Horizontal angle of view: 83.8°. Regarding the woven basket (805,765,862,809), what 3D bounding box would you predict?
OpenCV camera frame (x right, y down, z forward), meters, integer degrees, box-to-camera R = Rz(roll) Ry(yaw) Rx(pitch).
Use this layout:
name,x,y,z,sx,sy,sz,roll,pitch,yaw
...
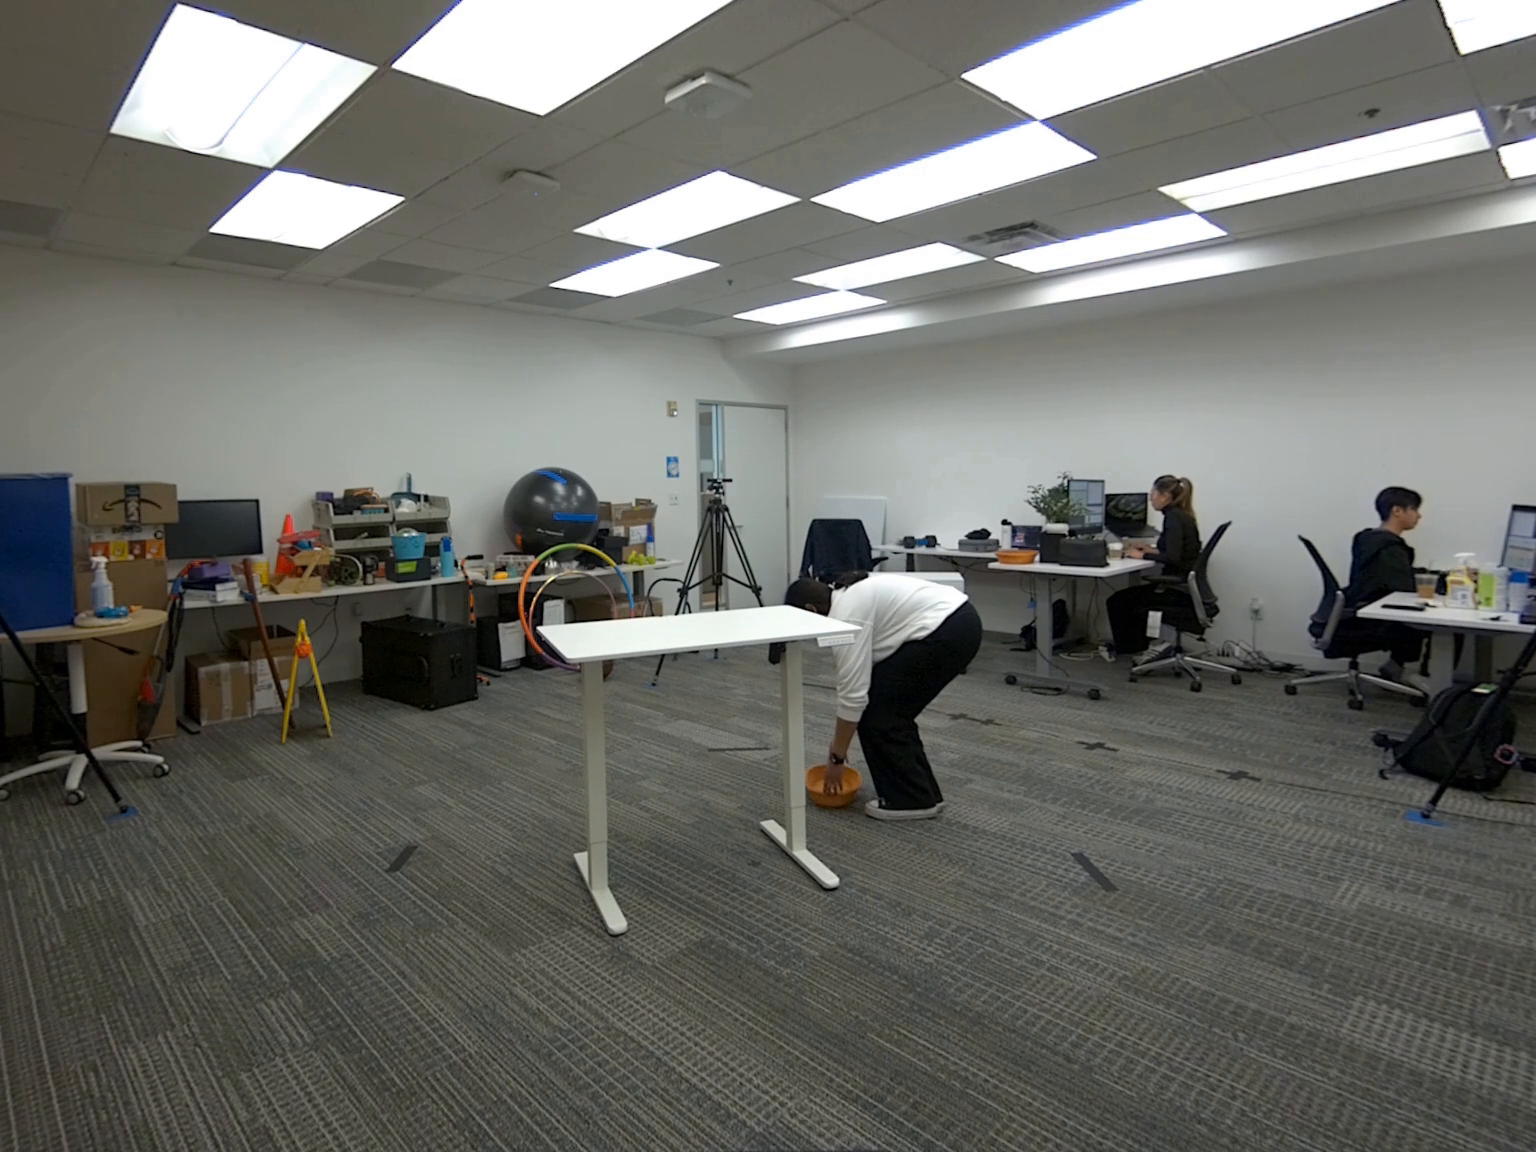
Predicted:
name,x,y,z,sx,sy,sz,roll,pitch,yaw
woven basket,0.284,0.909,3.757,0.255,0.073,0.348,0,7,10
